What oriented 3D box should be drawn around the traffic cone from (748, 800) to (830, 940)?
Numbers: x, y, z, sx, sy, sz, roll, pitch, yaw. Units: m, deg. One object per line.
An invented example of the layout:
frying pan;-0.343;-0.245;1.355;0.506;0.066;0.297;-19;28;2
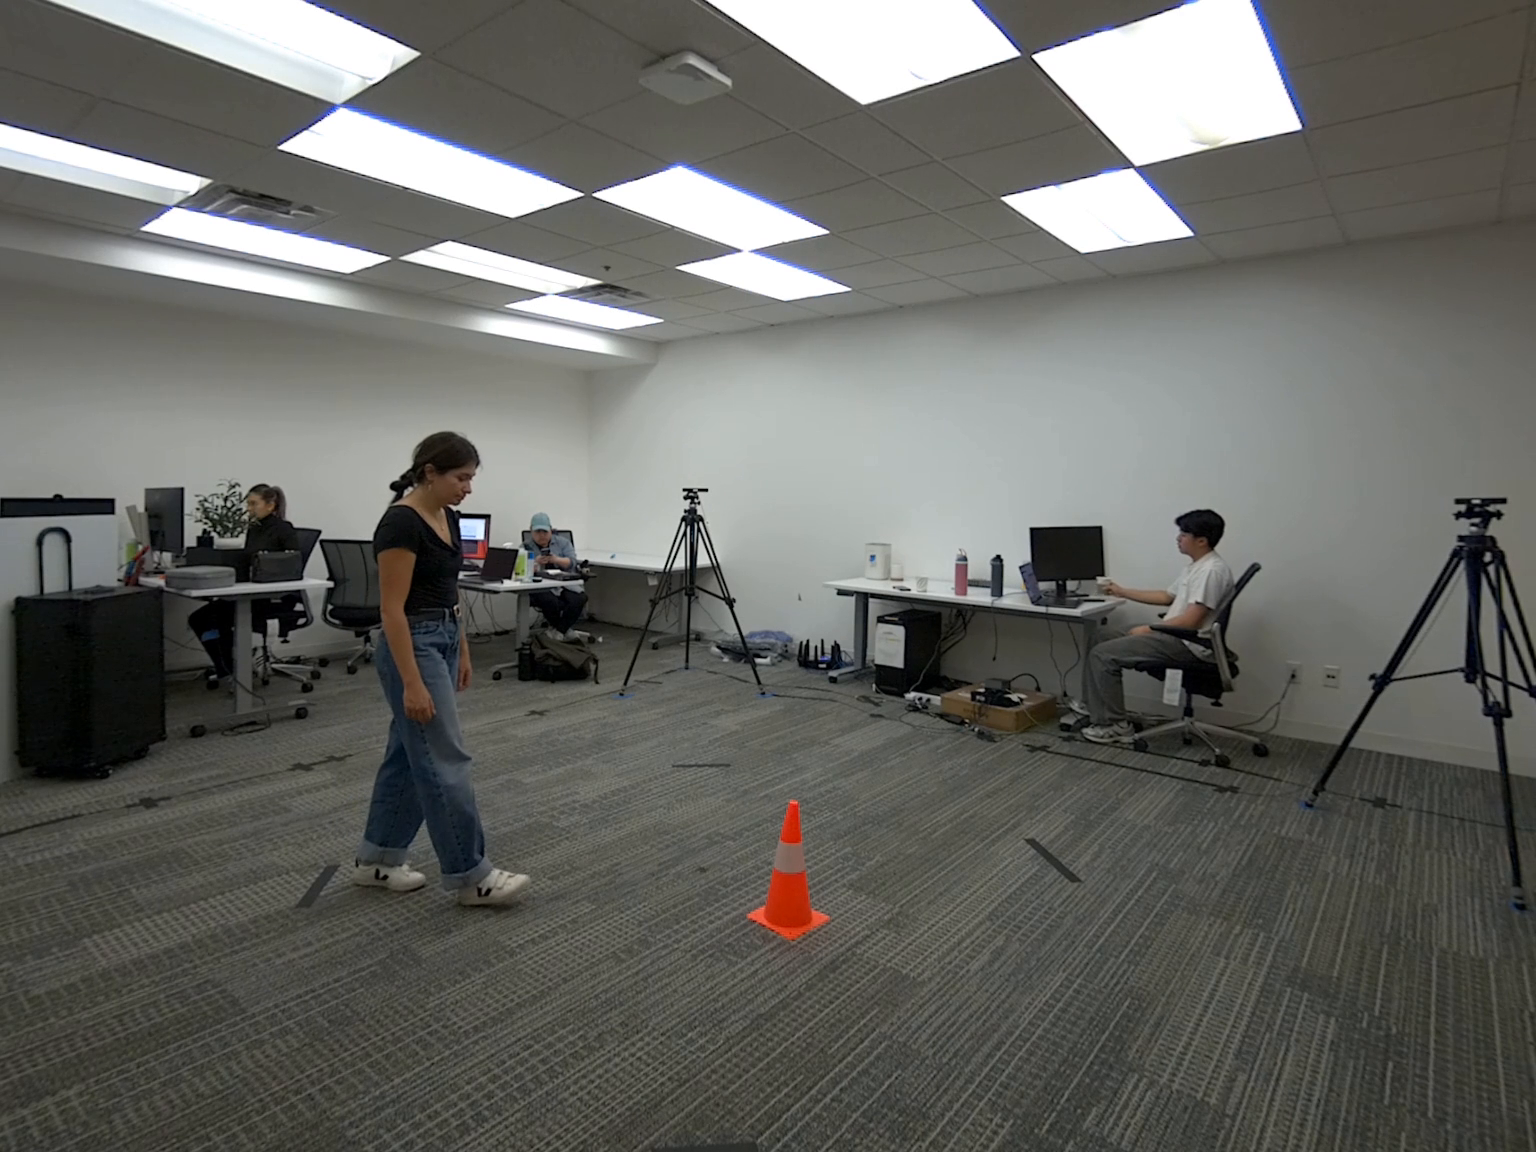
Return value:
traffic cone;0.082;0.923;2.762;0.197;0.383;0.212;1;4;-45
